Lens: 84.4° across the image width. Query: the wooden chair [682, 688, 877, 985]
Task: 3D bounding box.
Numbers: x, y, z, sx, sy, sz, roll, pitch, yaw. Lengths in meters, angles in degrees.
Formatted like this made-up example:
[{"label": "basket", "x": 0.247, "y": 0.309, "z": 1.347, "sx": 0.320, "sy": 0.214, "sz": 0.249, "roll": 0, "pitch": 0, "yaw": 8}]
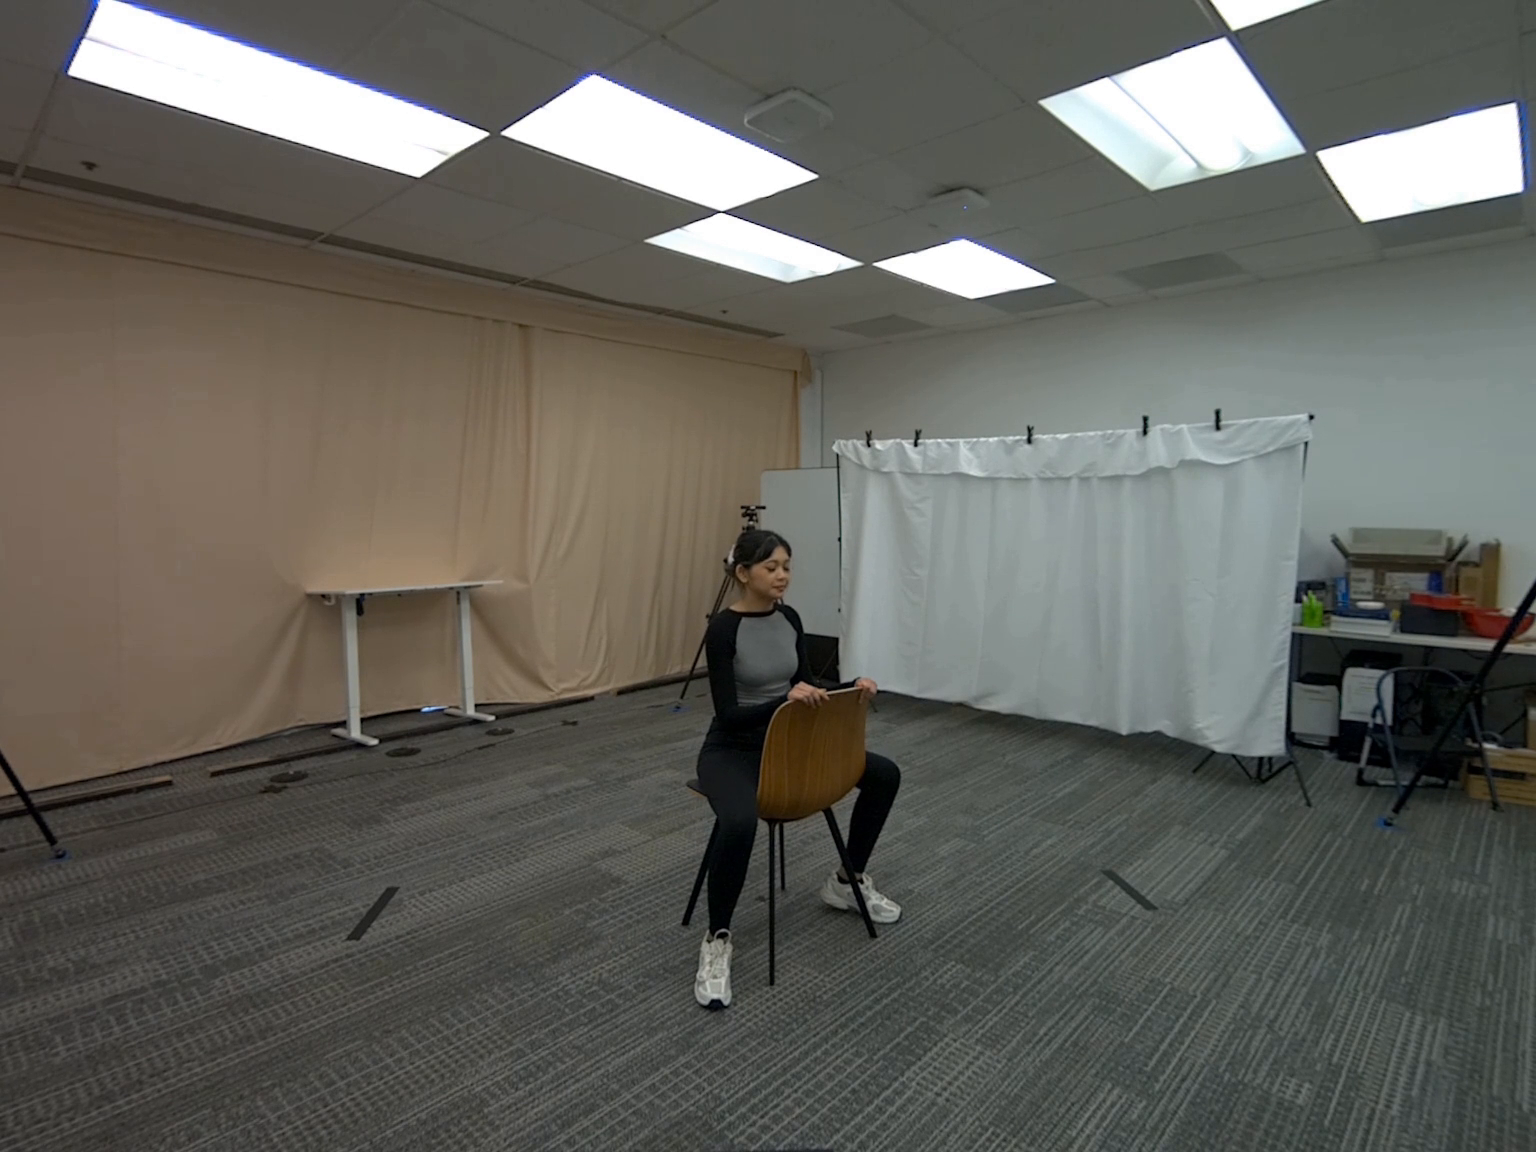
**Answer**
[{"label": "wooden chair", "x": 0.026, "y": 0.738, "z": 2.736, "sx": 0.464, "sy": 0.874, "sz": 0.541, "roll": -2, "pitch": 9, "yaw": -39}]
